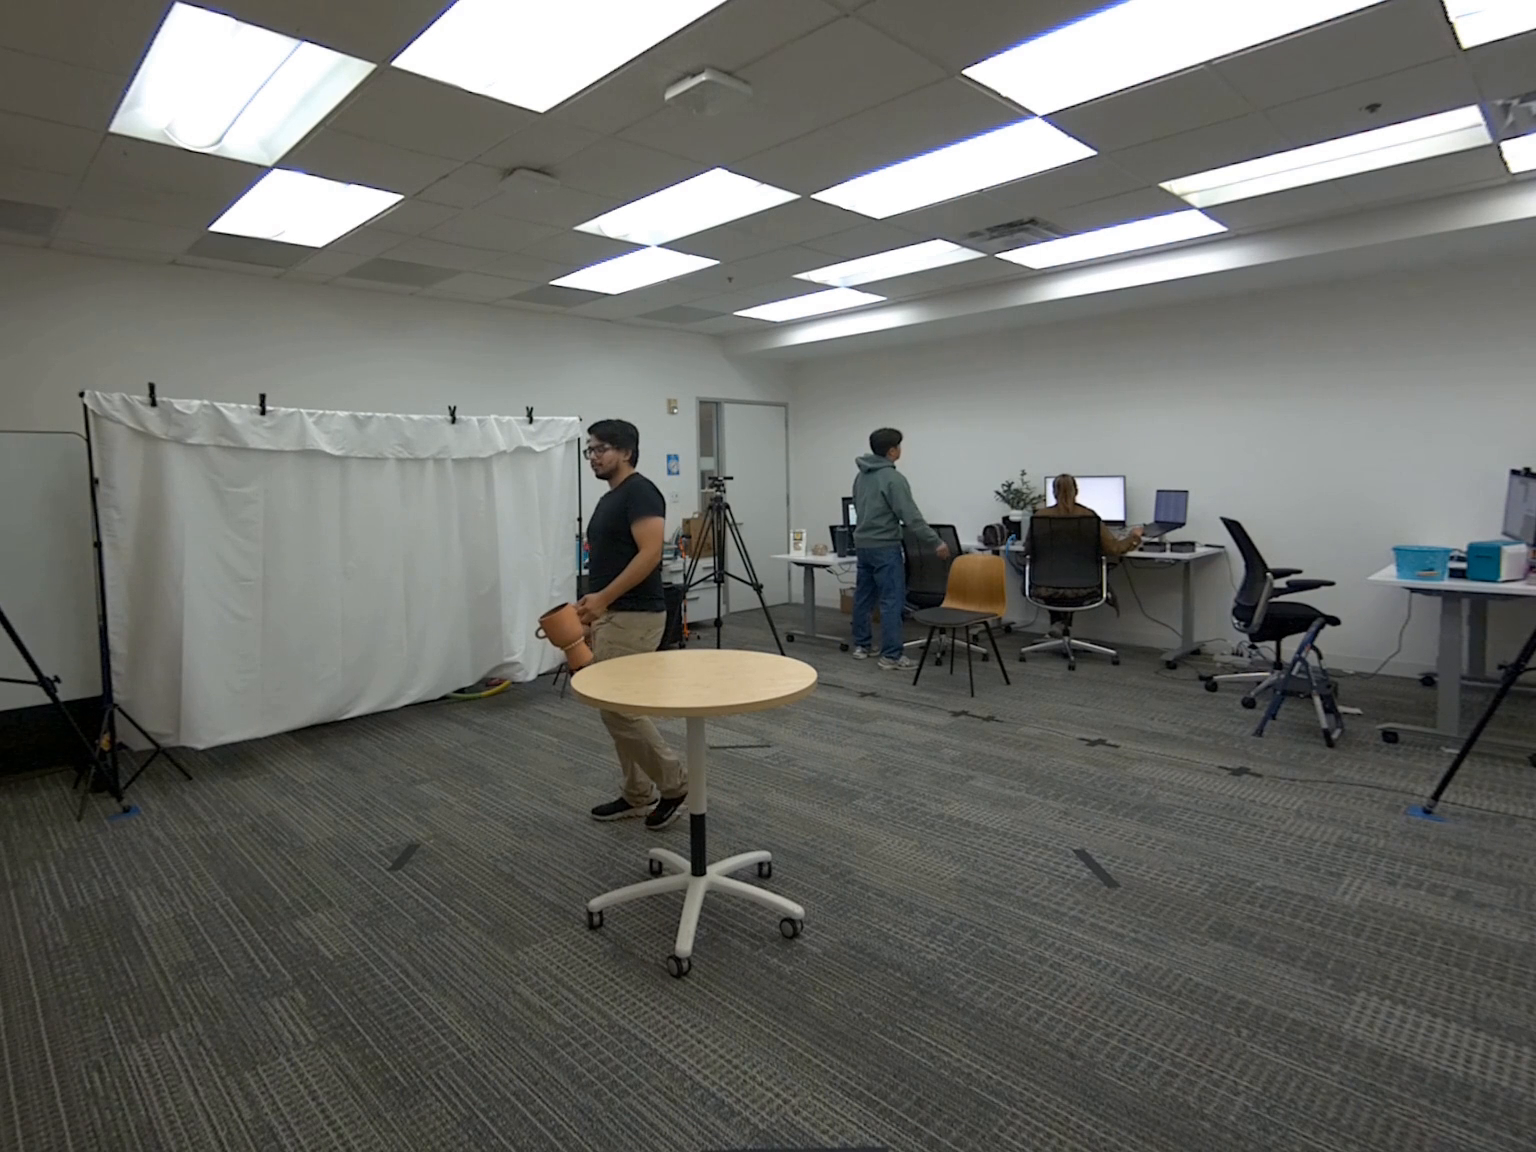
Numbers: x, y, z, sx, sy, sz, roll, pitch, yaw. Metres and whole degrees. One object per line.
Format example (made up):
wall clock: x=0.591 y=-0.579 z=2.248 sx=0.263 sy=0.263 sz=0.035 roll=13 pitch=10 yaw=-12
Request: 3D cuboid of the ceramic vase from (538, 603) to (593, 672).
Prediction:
ceramic vase: x=-0.749 y=0.227 z=3.144 sx=0.161 sy=0.217 sz=0.135 roll=-21 pitch=13 yaw=25
